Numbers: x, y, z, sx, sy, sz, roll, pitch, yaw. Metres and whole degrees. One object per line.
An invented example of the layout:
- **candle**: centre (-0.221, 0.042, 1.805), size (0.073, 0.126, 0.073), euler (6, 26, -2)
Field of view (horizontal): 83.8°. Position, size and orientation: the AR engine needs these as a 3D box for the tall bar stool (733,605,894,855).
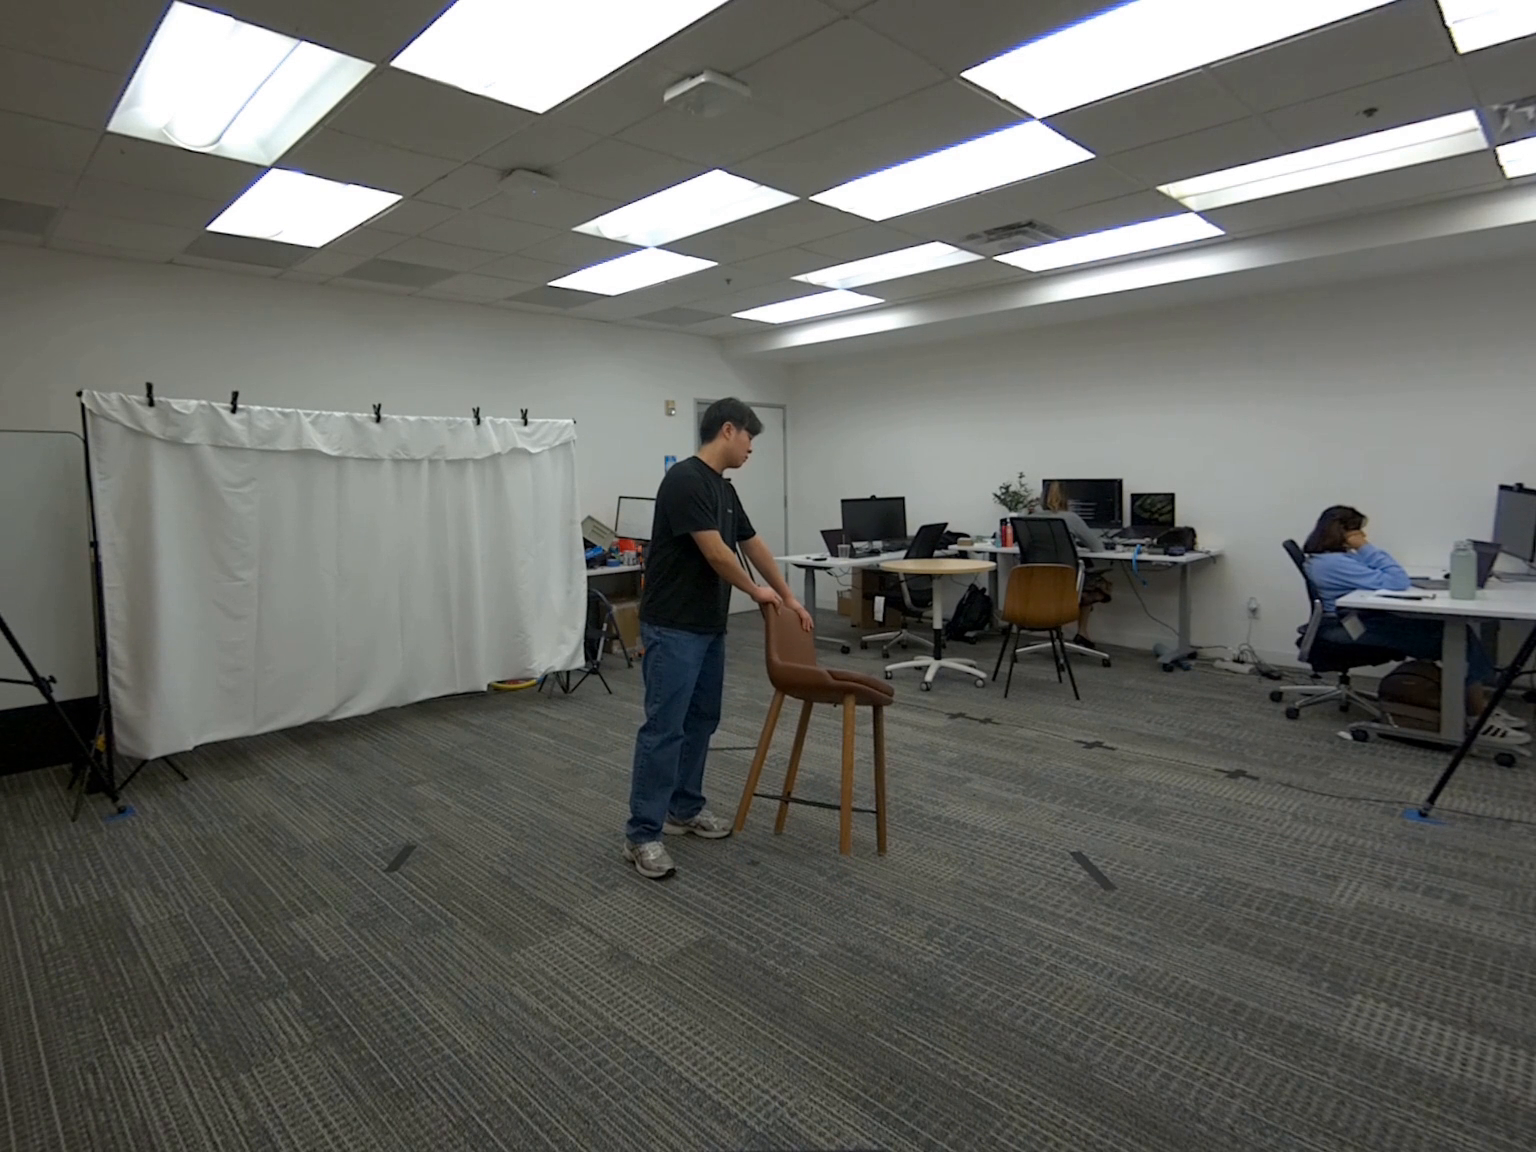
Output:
- **tall bar stool**: centre (0.204, 0.548, 3.225), size (0.479, 0.900, 0.440), euler (-2, -17, 29)
